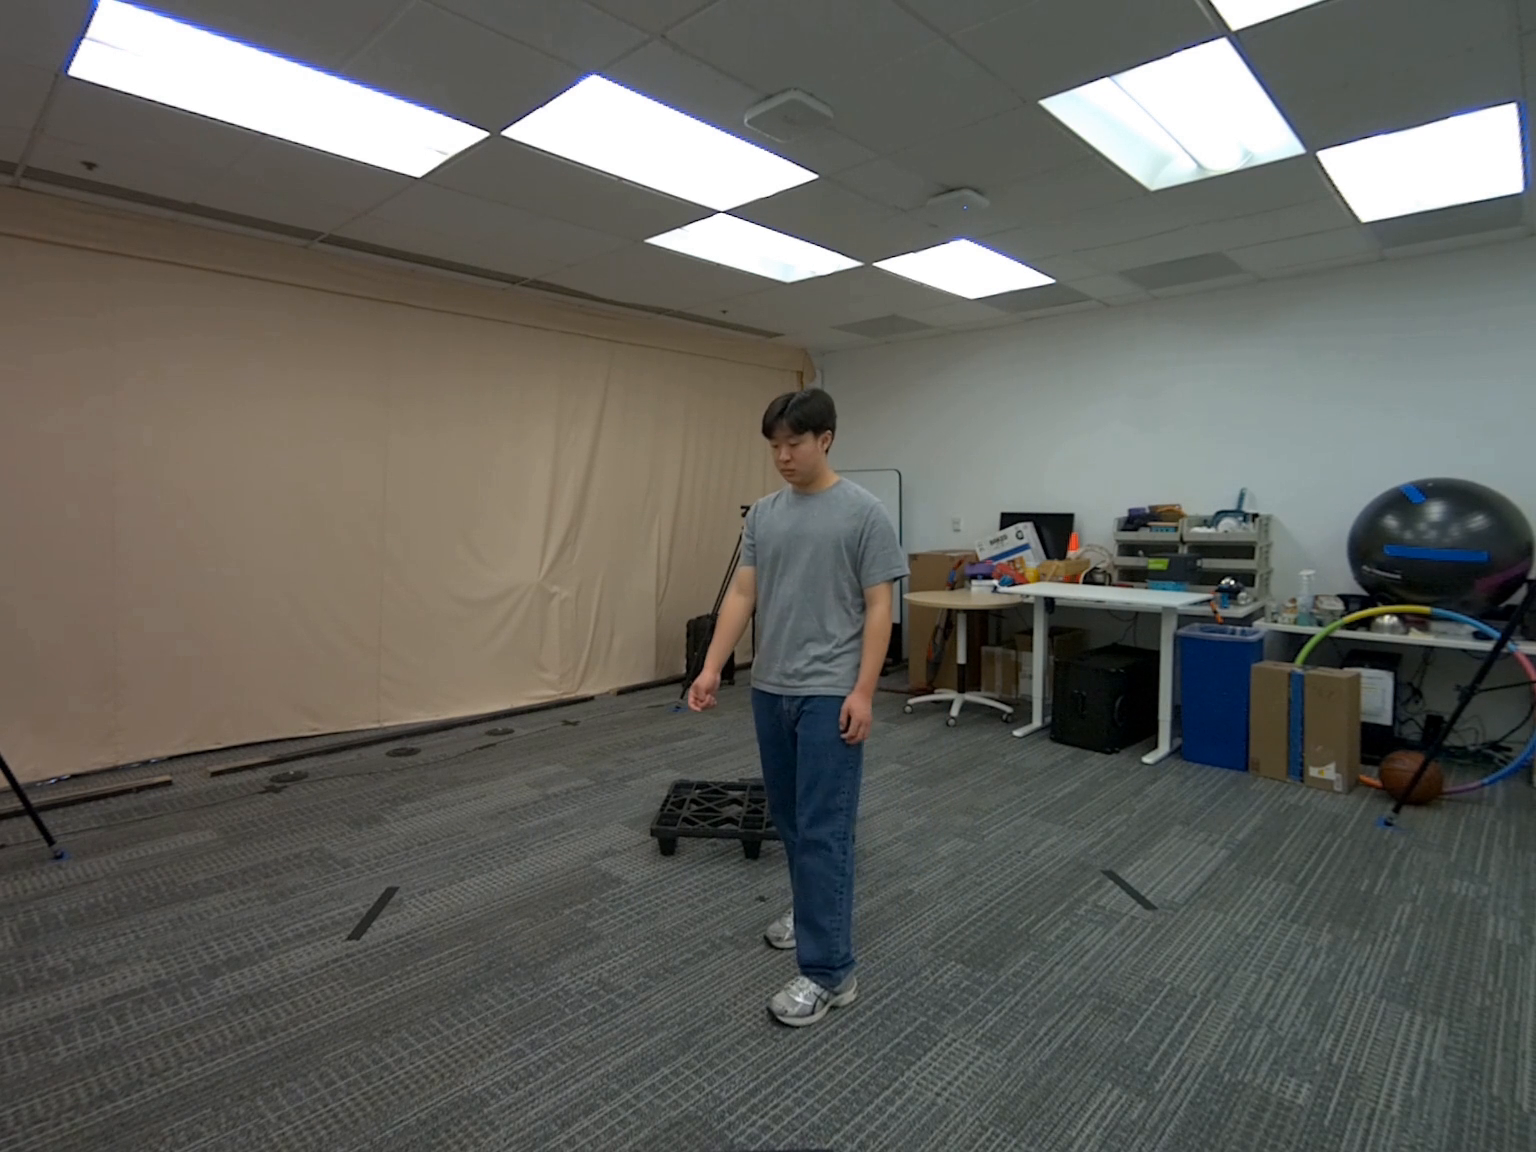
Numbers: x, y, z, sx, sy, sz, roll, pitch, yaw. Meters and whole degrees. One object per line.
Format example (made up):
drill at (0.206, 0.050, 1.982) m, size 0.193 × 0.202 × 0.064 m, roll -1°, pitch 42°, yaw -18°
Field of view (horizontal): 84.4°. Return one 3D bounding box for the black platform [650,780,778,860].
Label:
black platform at (-0.047, 1.026, 3.541) m, size 0.811 × 0.143 × 0.603 m, roll -1°, pitch 5°, yaw 5°
